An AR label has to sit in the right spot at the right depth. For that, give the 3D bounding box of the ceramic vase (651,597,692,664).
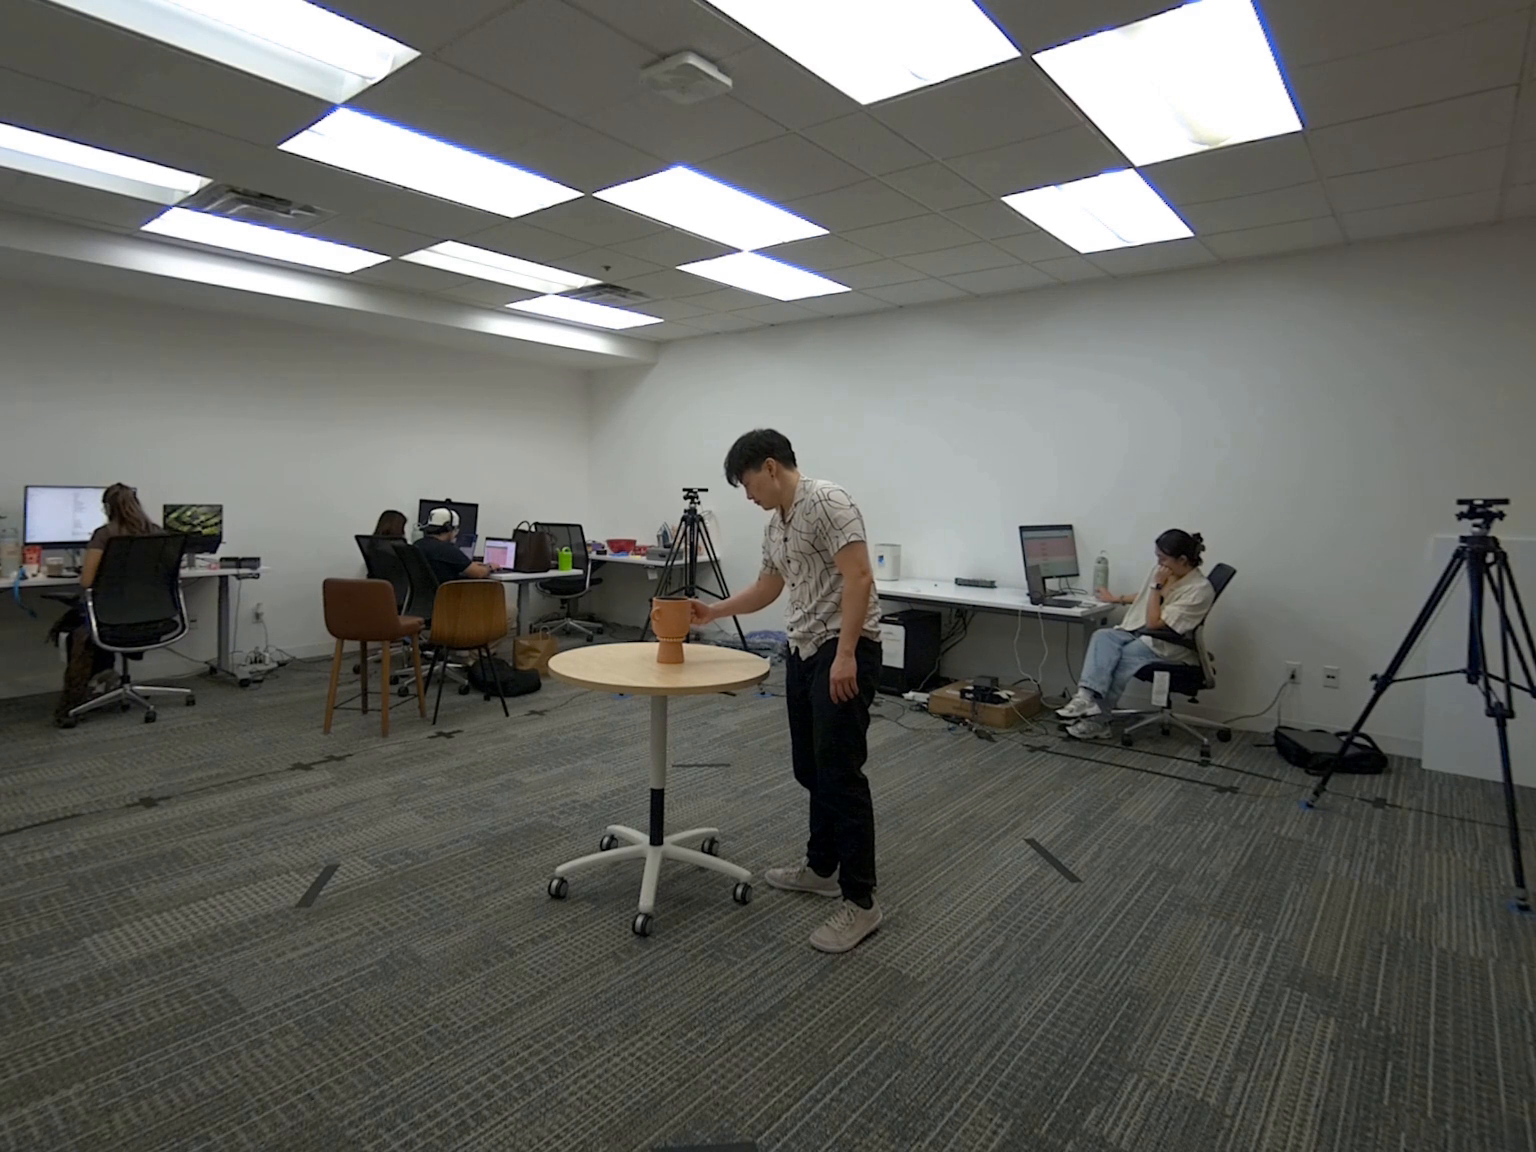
[{"bbox_3d":[-0.348,0.189,2.983,0.156,0.219,0.137,1,5,-14],"label":"ceramic vase"}]
